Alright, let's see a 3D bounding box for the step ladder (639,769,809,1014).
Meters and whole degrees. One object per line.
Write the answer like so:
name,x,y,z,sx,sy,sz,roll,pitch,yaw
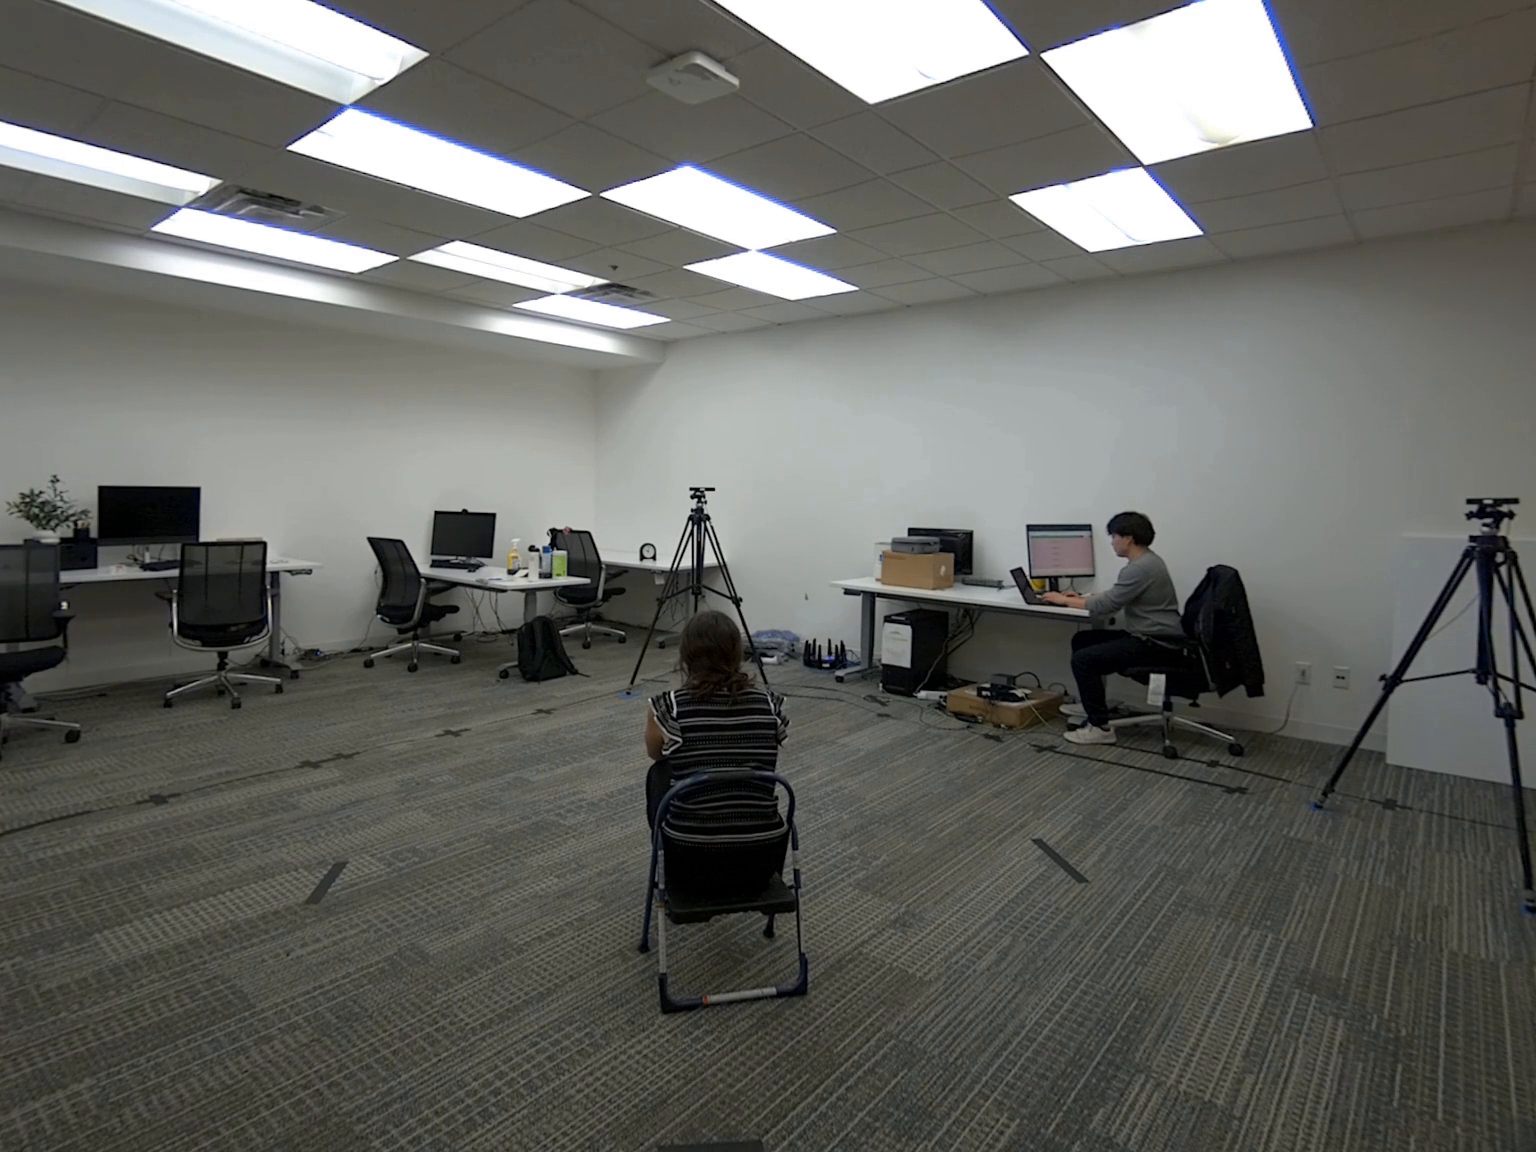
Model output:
step ladder,-0.137,0.839,2.444,0.423,0.604,0.356,-1,4,-17
